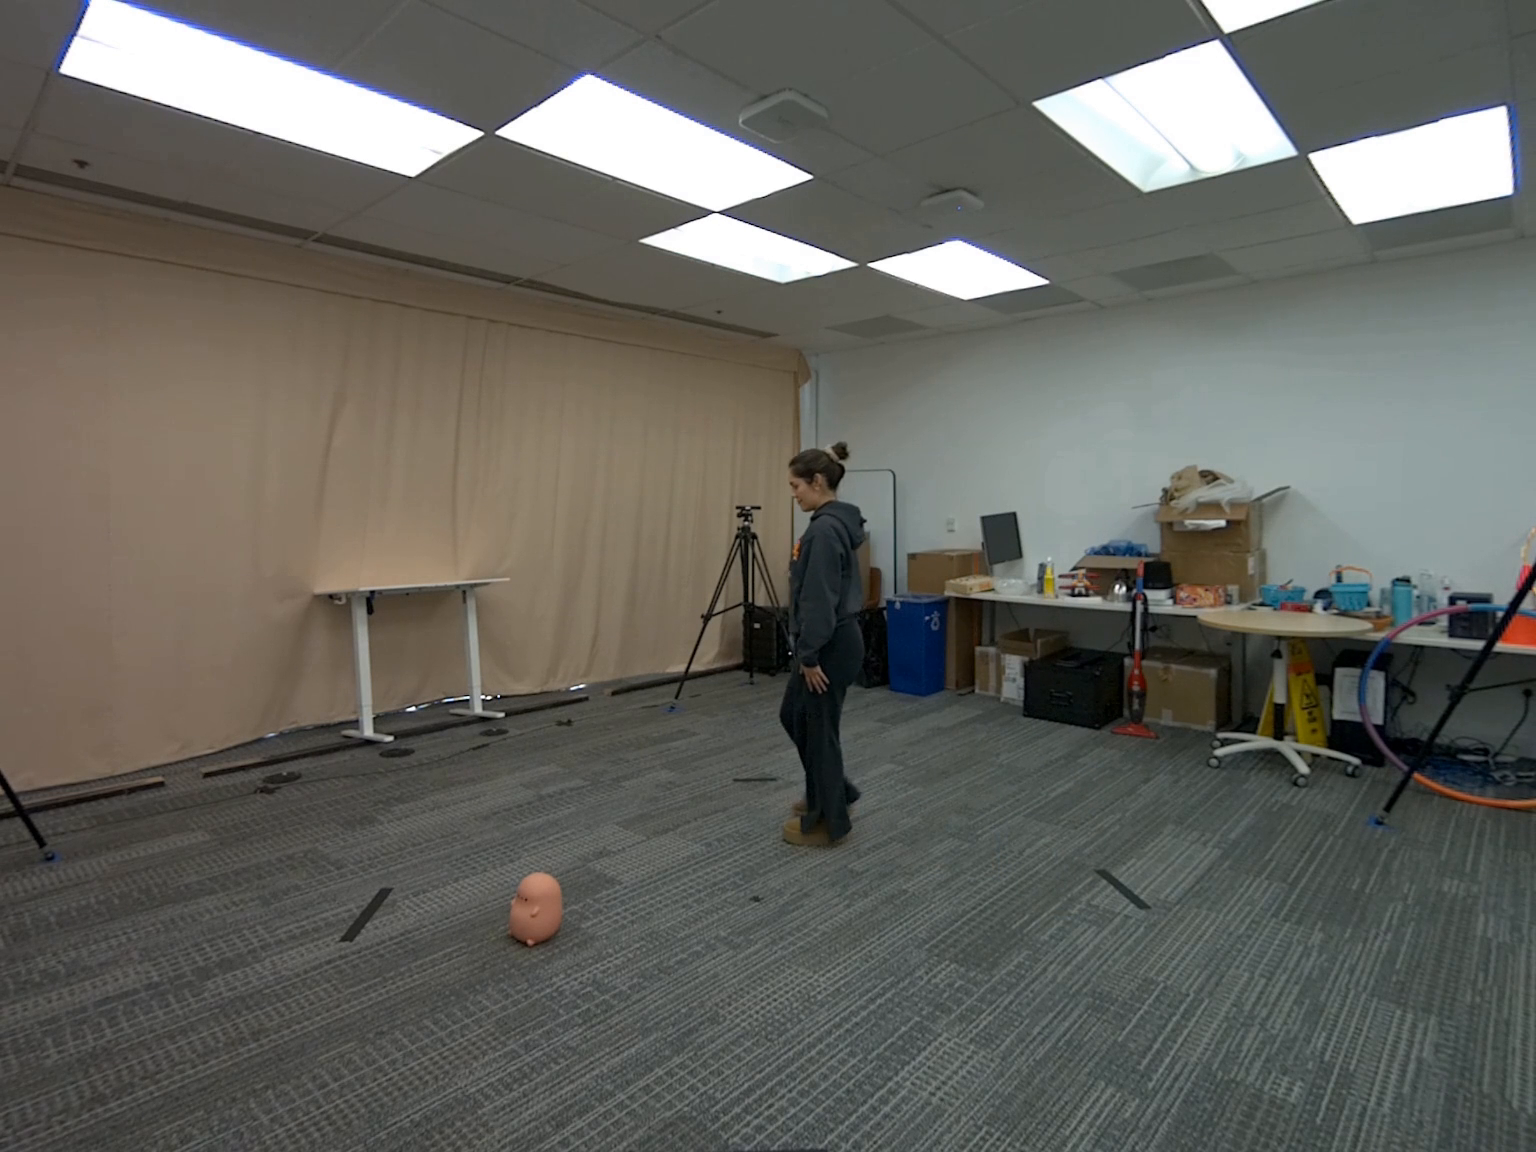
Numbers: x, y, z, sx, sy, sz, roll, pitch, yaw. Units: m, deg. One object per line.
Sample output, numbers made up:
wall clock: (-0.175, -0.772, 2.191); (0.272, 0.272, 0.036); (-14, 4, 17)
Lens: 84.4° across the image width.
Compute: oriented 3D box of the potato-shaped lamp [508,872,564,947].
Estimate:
potato-shaped lamp: (-0.738, 1.081, 2.737); (0.170, 0.198, 0.166); (-1, 3, 45)
